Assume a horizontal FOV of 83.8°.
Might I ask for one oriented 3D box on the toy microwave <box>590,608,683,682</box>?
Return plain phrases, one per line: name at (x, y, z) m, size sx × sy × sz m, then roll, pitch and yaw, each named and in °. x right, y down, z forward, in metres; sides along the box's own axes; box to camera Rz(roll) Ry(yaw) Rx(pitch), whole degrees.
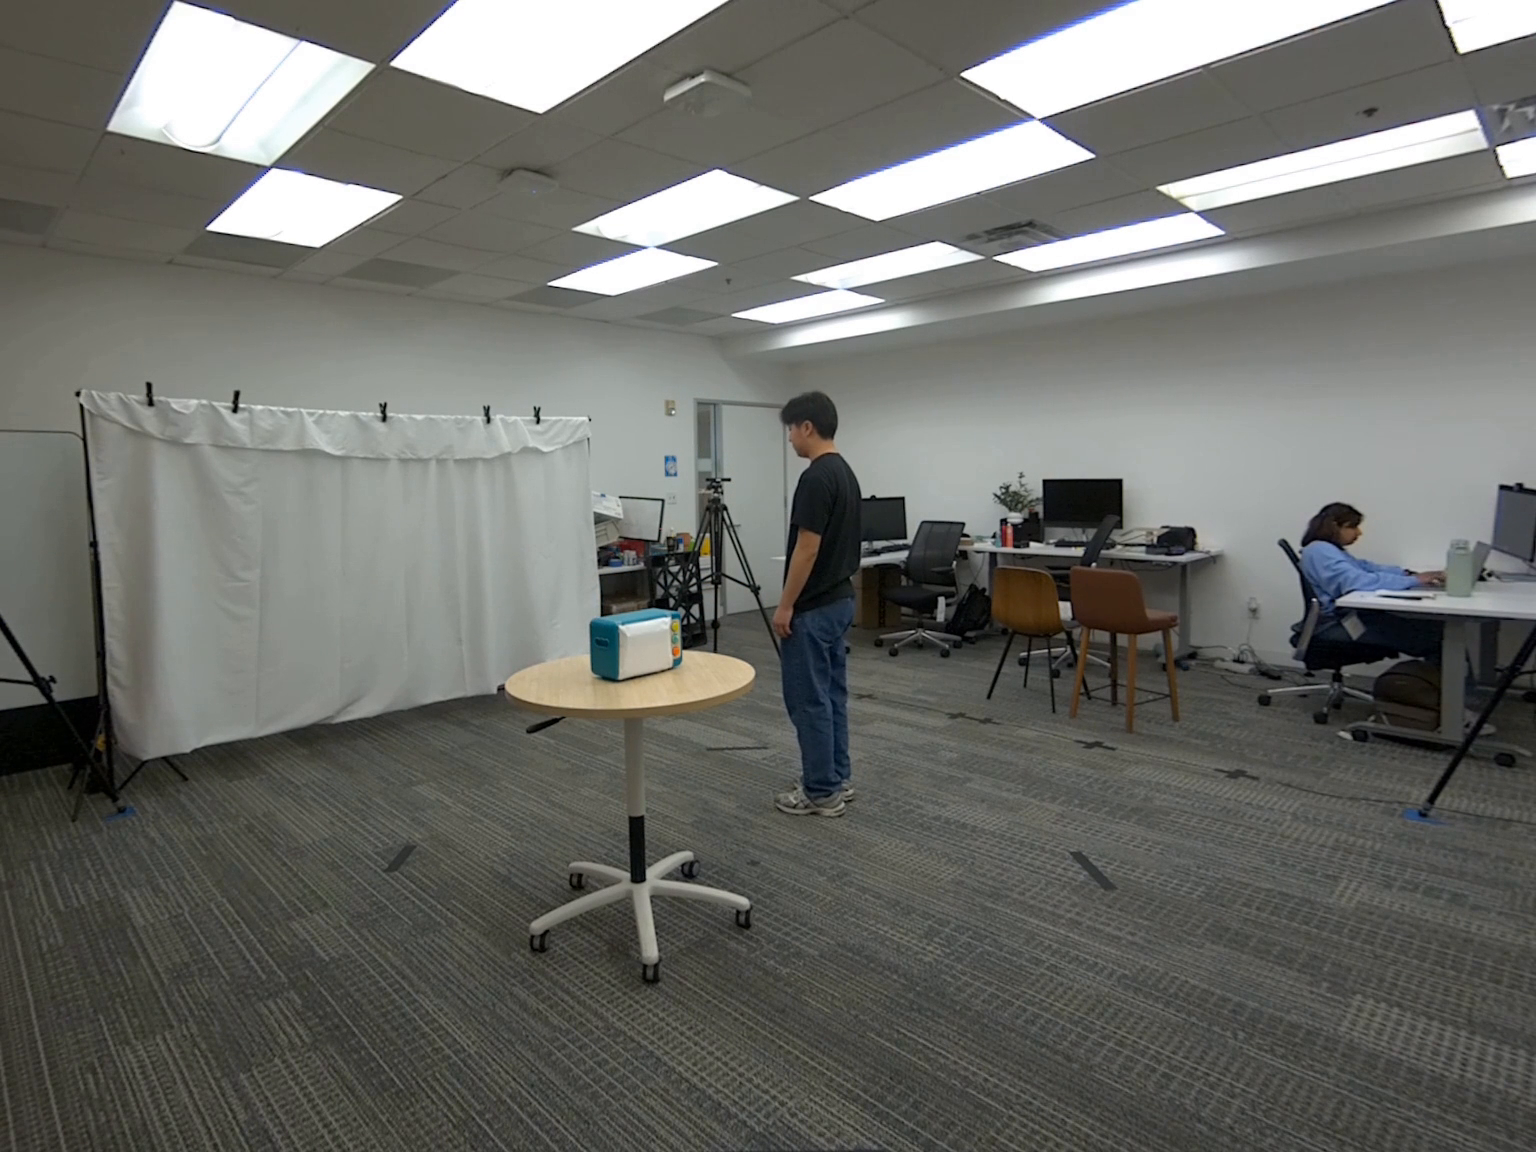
toy microwave at (-0.403, 0.211, 2.670) m, size 0.157 × 0.183 × 0.279 m, roll 3°, pitch 8°, yaw 43°
